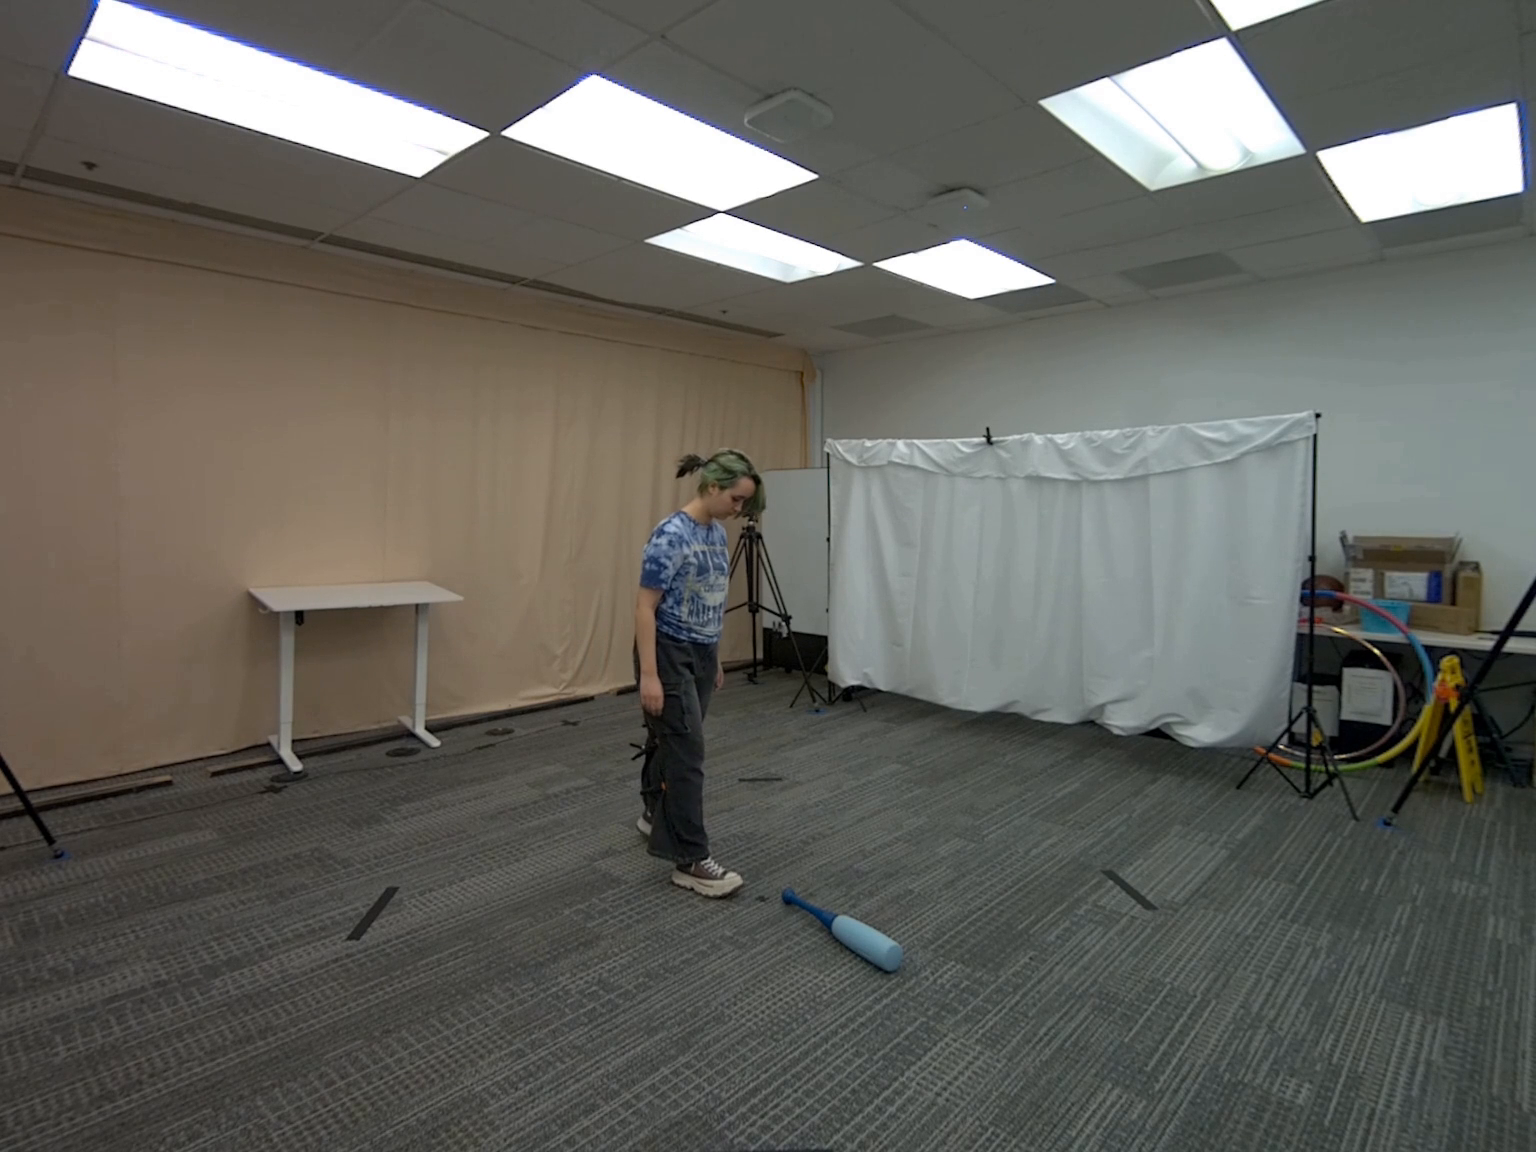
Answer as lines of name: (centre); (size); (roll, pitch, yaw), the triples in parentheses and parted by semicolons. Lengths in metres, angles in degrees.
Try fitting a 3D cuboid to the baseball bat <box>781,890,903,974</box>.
baseball bat: (0.223, 1.133, 2.724); (0.086, 0.089, 0.559); (-2, 2, -33)
